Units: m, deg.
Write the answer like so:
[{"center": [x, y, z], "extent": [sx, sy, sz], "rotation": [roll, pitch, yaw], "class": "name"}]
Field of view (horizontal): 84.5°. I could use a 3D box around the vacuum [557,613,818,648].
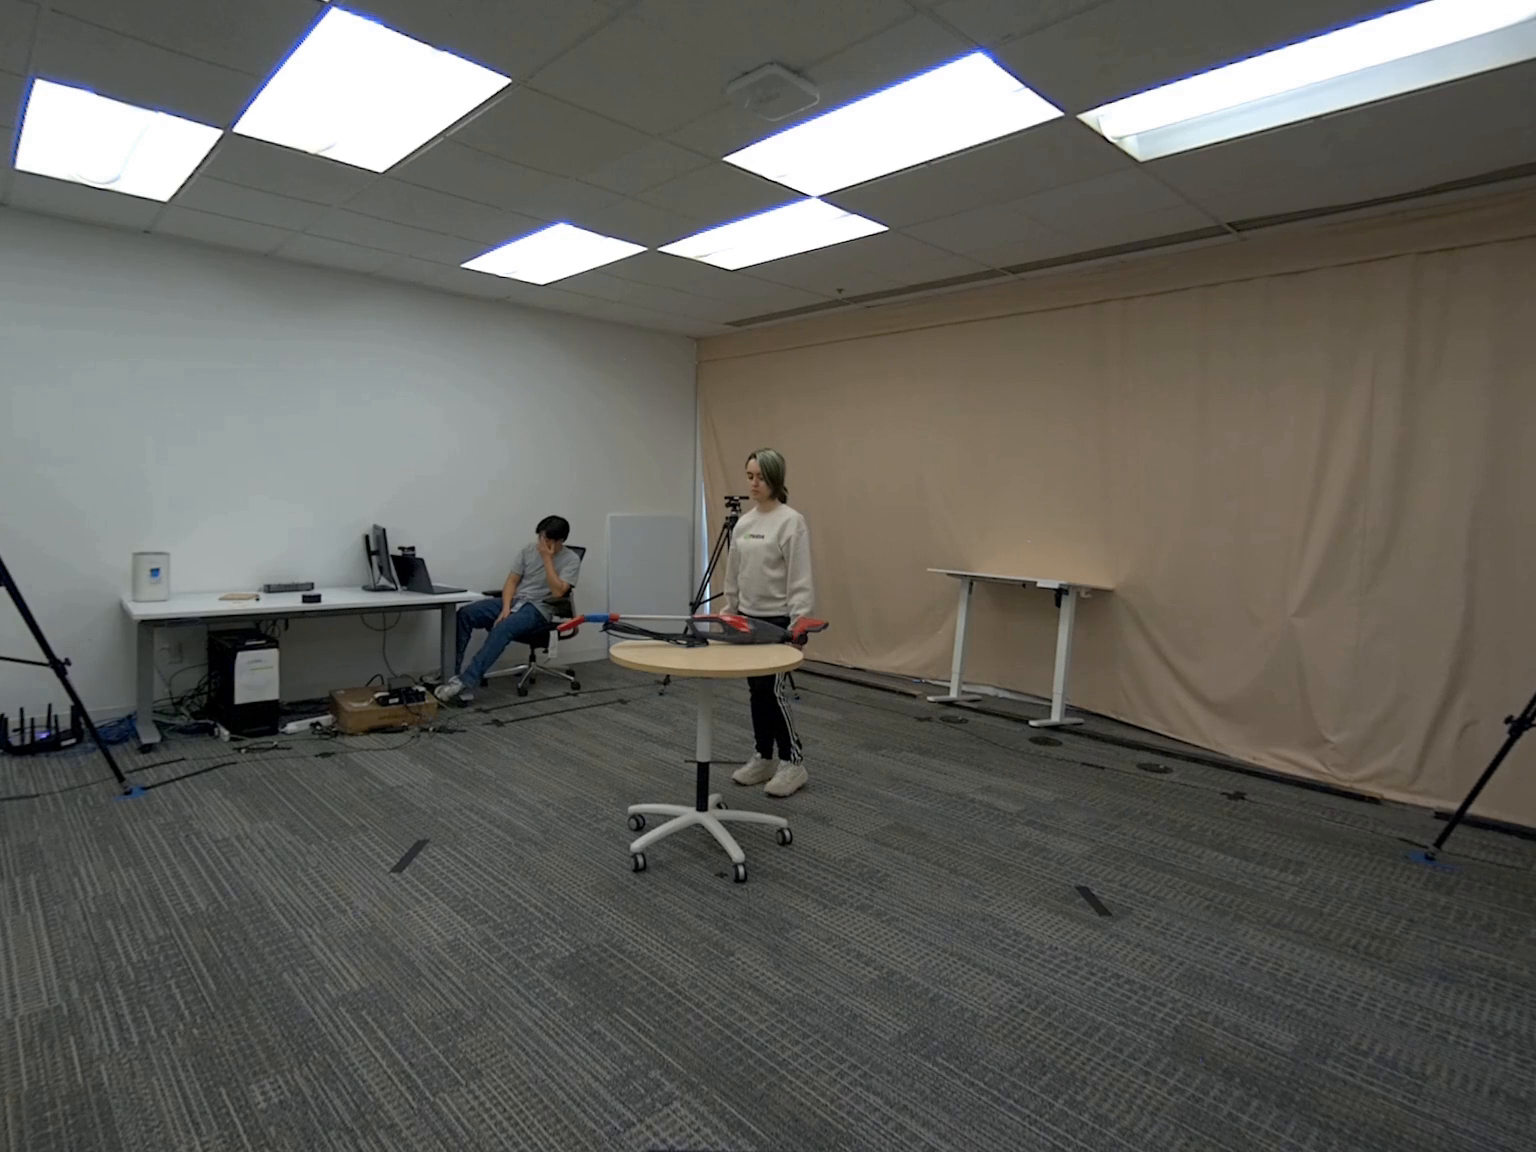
[{"center": [-0.357, 0.233, 3.444], "extent": [1.031, 0.144, 0.257], "rotation": [2, -1, -23], "class": "vacuum"}]
